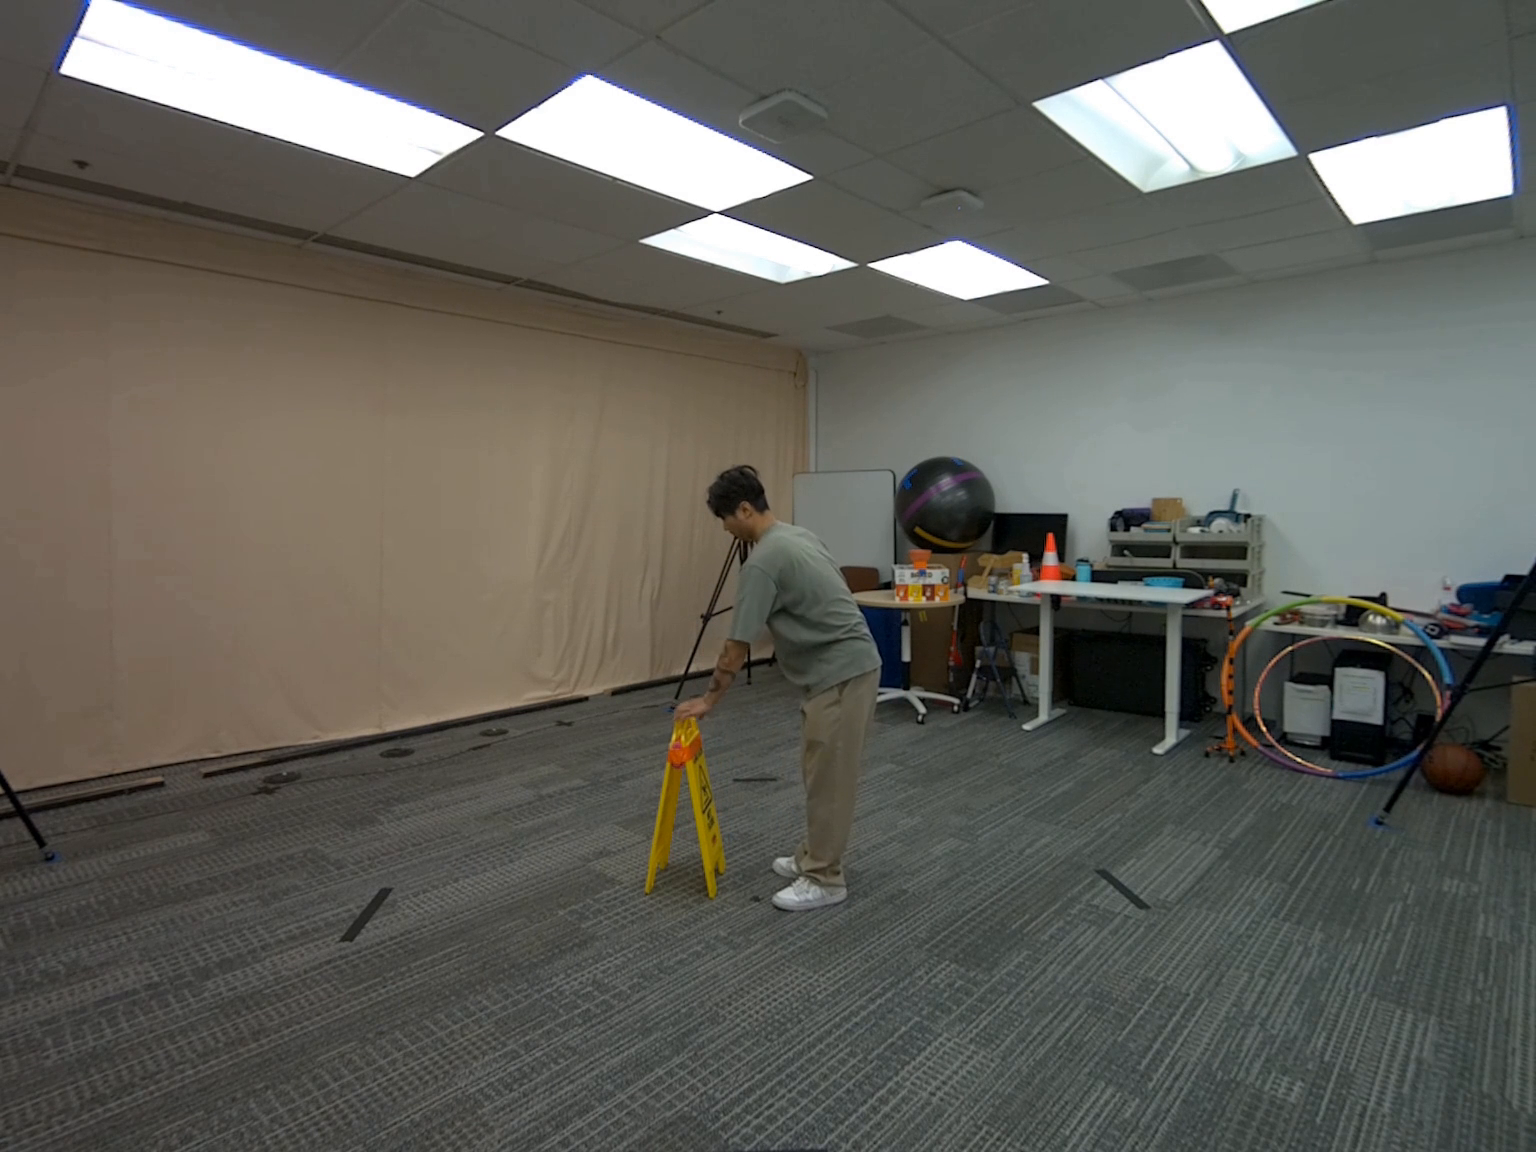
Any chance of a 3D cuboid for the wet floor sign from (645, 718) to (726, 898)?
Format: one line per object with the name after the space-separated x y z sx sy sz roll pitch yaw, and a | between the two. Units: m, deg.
-0.307 0.818 3.114 0.293 0.645 0.280 -1 2 9 | wet floor sign
